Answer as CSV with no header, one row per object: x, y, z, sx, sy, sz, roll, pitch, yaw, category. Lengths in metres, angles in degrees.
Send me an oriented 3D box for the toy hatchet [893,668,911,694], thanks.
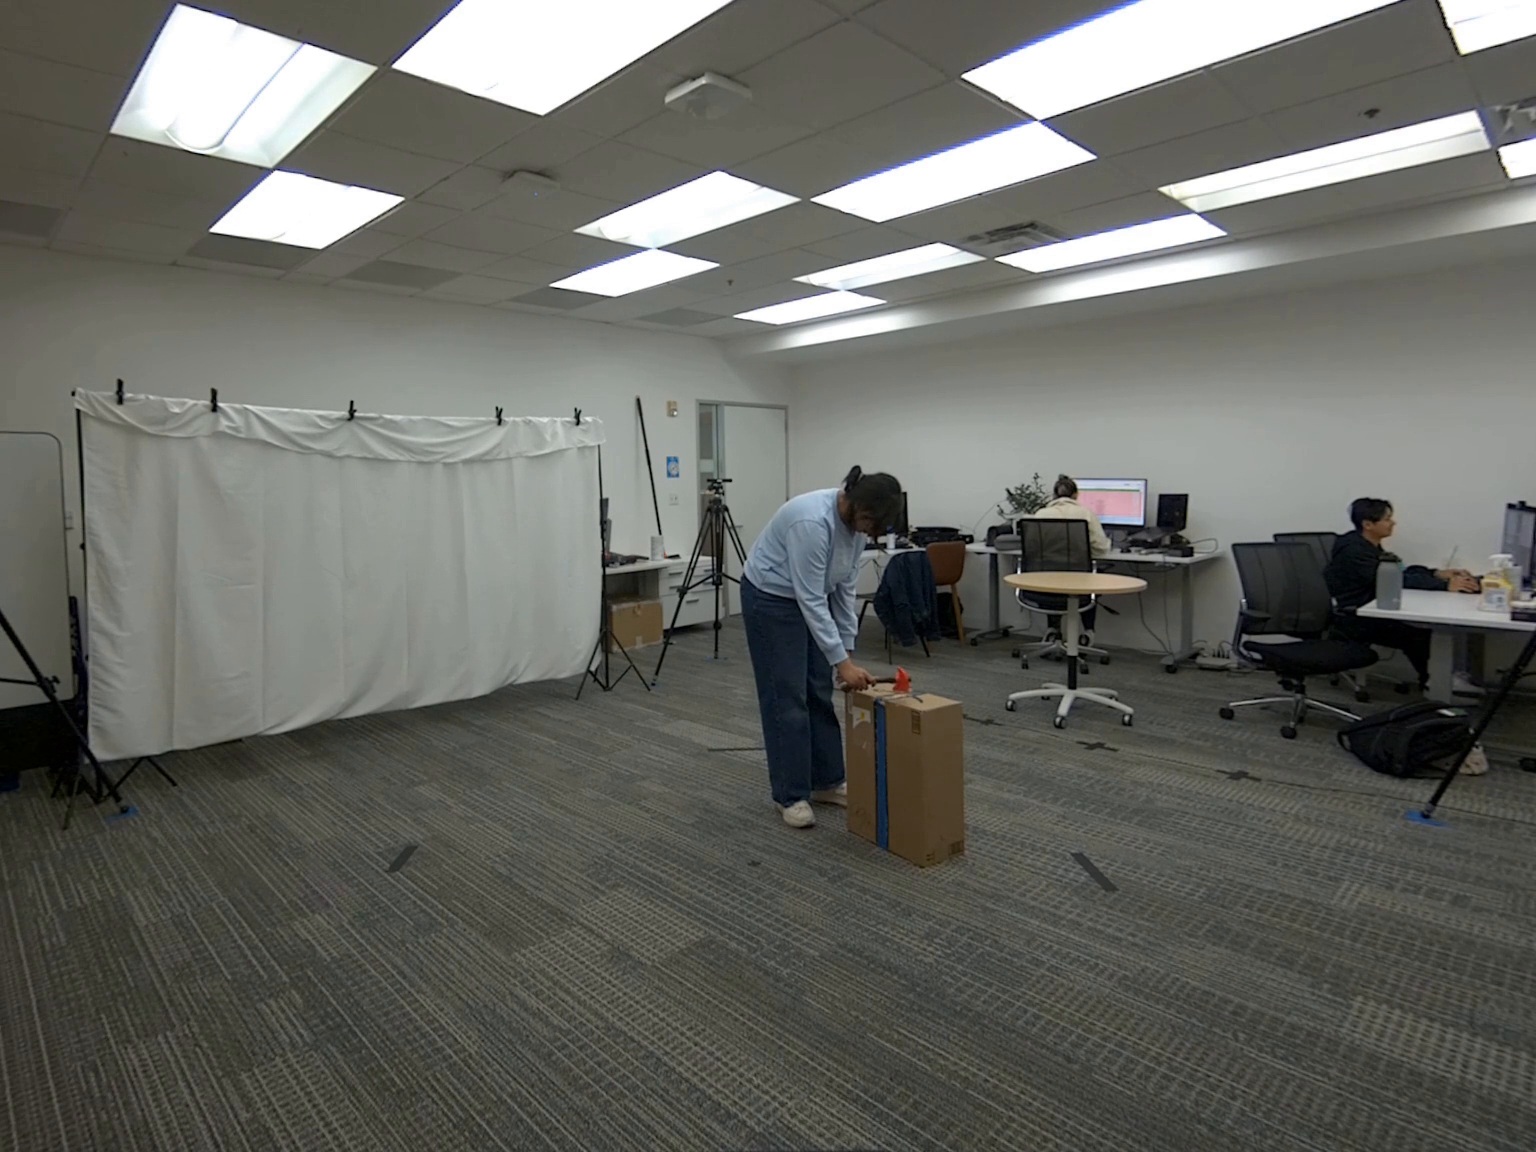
0.404,0.413,3.206,0.274,0.126,0.030,-19,38,31,toy hatchet
